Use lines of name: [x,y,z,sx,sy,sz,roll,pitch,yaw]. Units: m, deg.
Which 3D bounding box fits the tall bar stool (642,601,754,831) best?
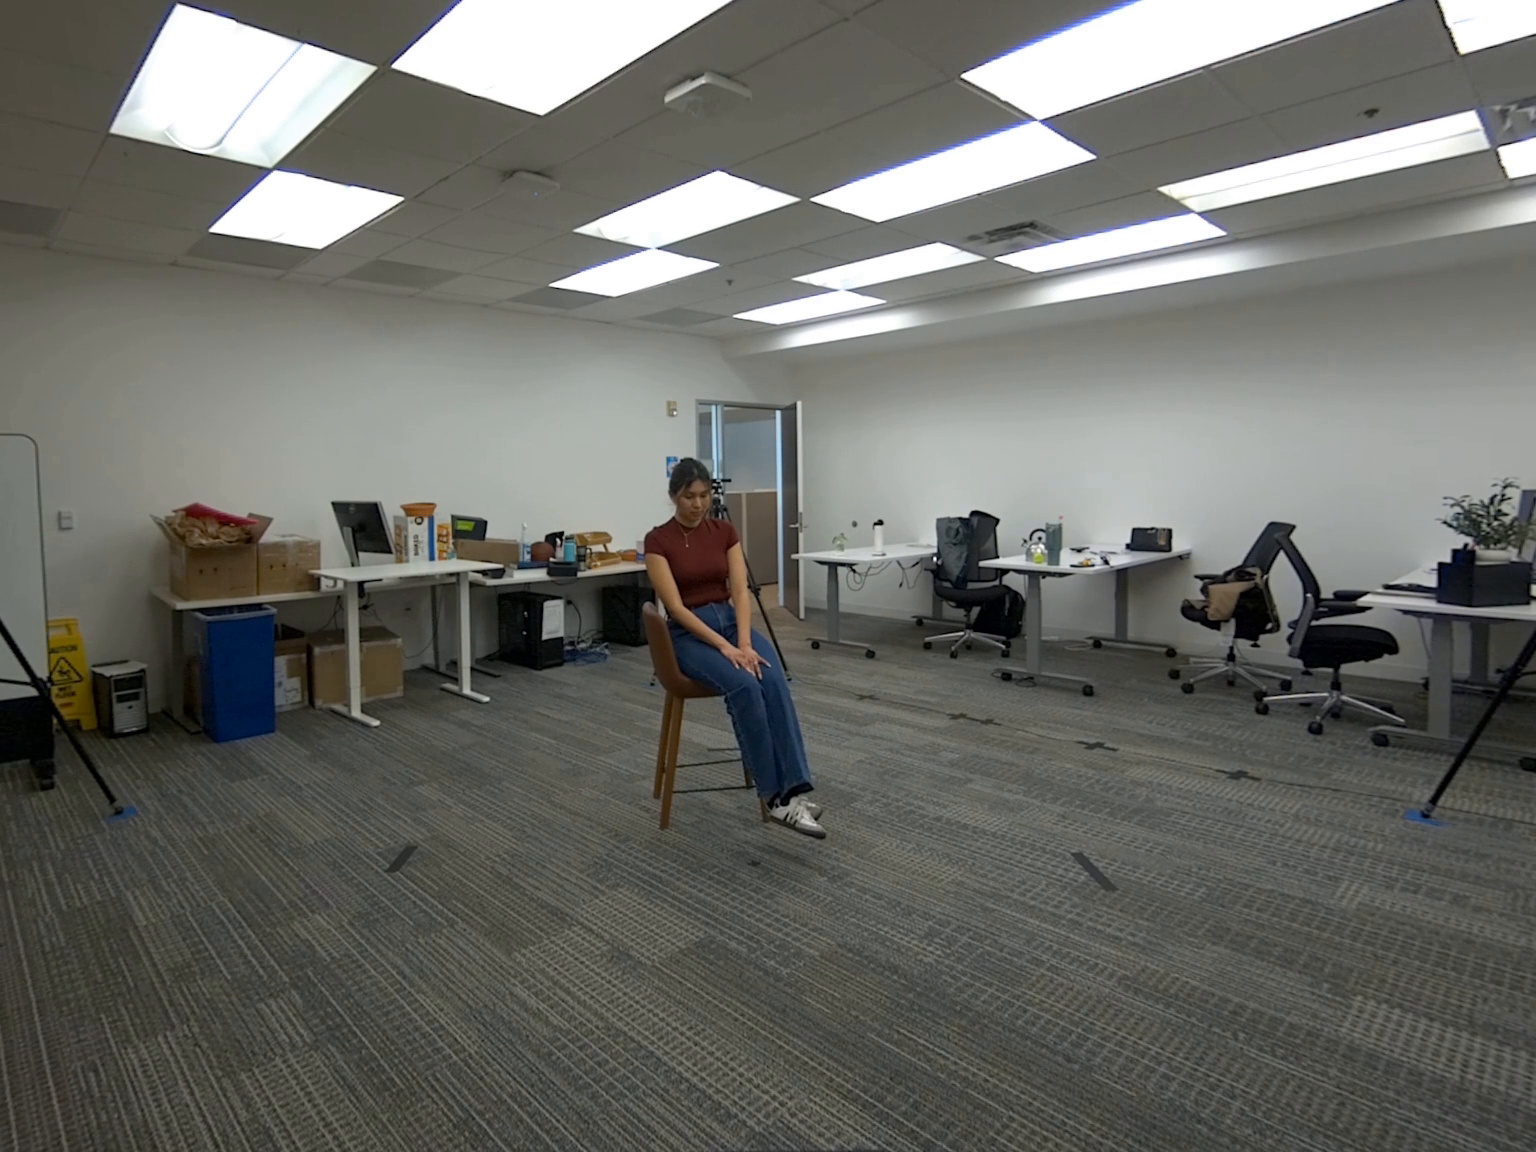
tall bar stool: [-0.271,0.559,3.623,0.463,0.887,0.463,-3,3,-12]
